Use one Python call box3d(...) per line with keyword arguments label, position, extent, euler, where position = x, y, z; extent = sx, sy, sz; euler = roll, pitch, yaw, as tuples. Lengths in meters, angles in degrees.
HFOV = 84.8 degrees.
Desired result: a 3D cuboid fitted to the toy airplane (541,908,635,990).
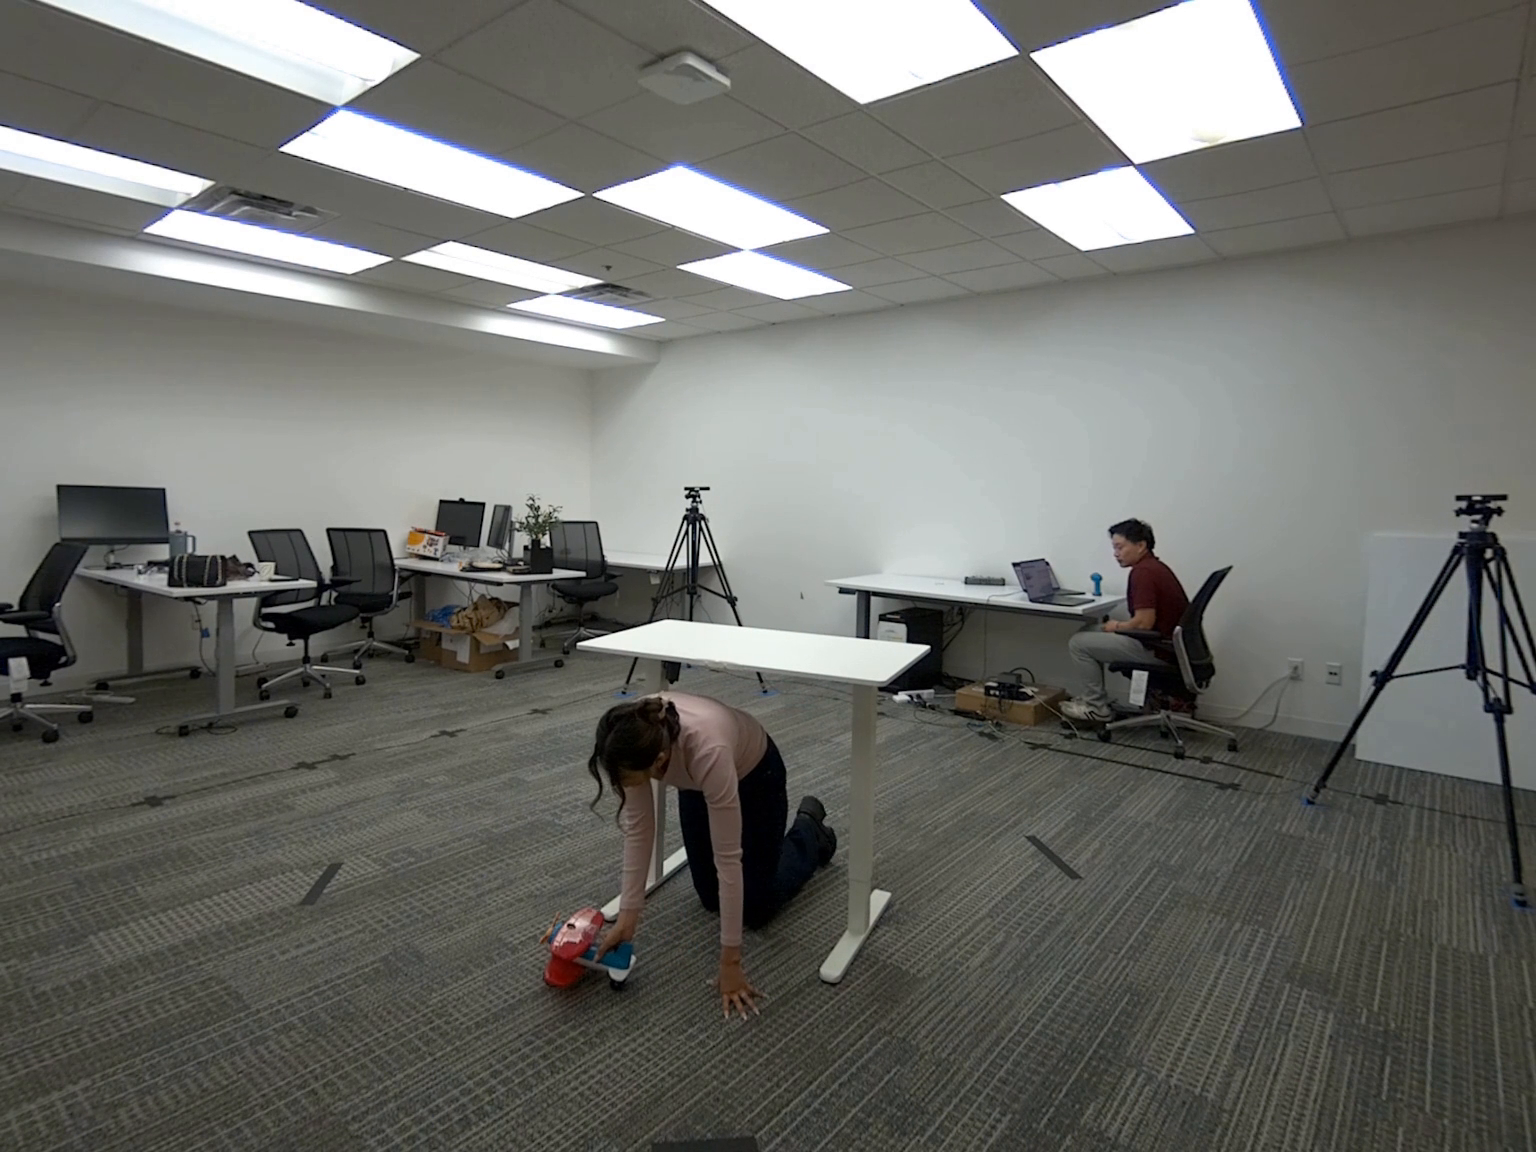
box3d(label="toy airplane", position=(-0.508, 1.059, 2.413), extent=(0.255, 0.155, 0.256), euler=(-4, 6, -16))
